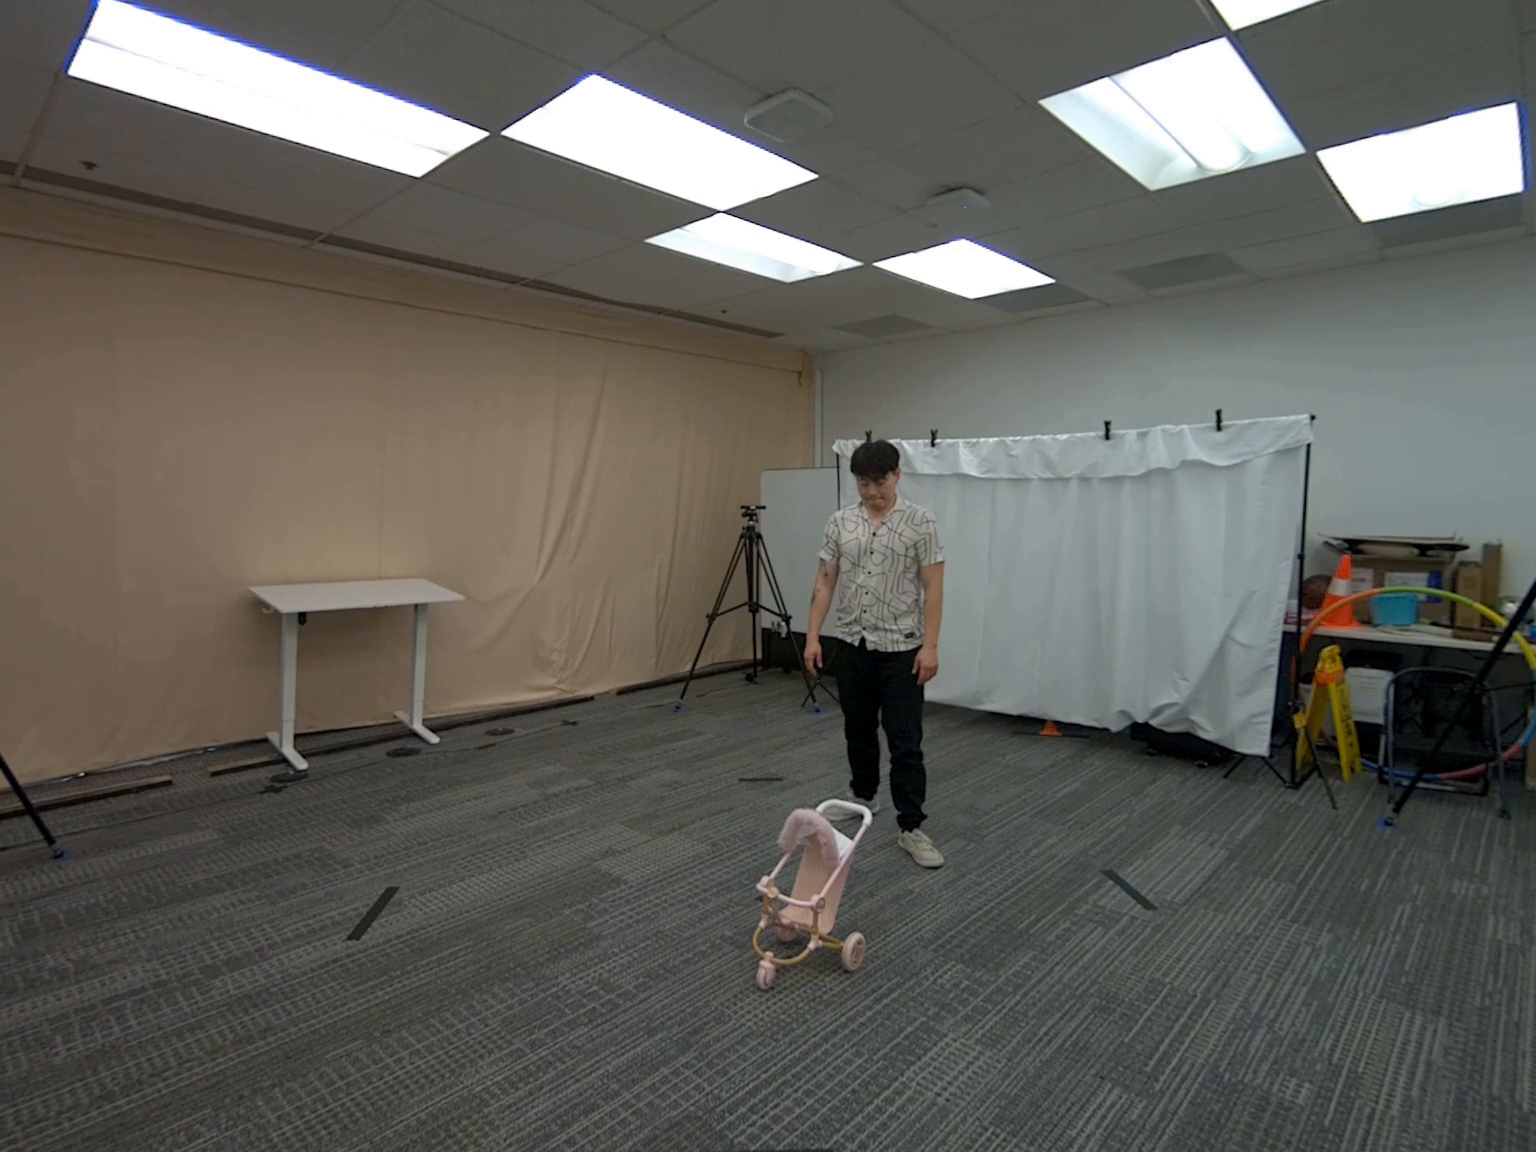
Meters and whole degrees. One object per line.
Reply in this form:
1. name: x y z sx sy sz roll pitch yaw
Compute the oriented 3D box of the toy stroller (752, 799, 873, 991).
1. toy stroller: 0.122 0.952 2.555 0.329 0.537 0.291 18 -11 -43
